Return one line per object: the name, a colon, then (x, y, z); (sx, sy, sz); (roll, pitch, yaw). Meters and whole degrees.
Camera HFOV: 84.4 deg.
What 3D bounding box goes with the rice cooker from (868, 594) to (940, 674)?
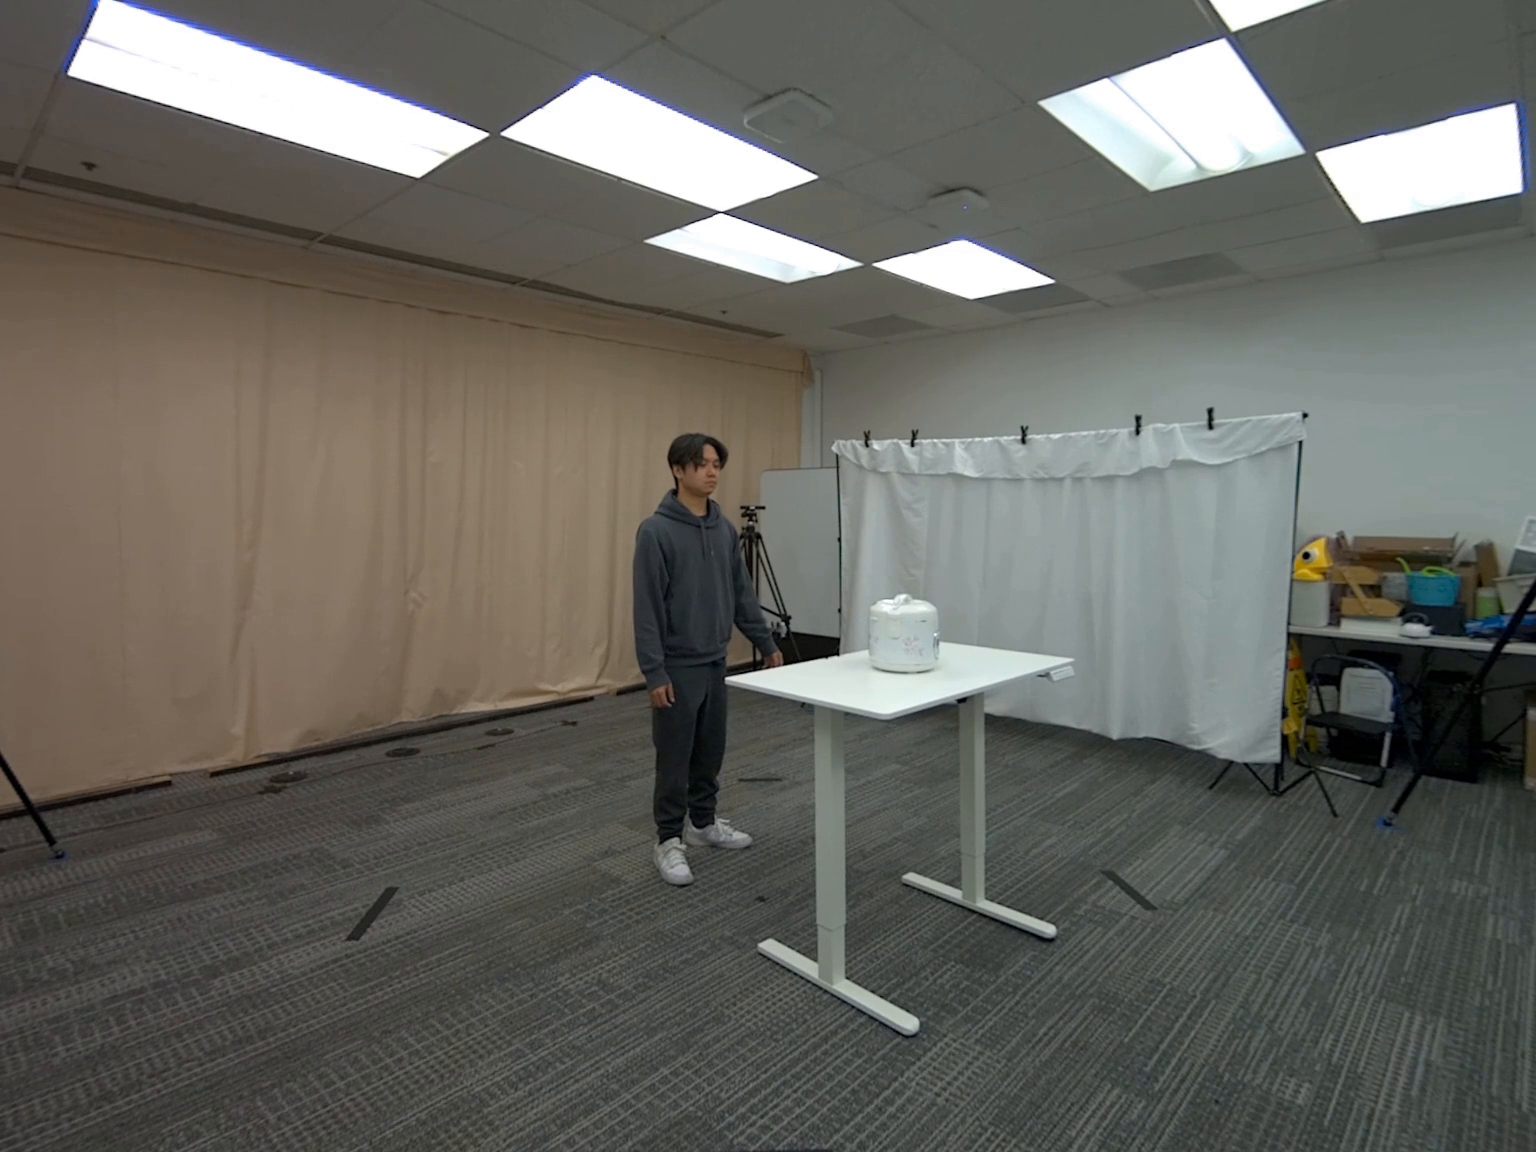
rice cooker: (0.429, 0.175, 2.621); (0.223, 0.232, 0.215); (-1, 4, 26)
